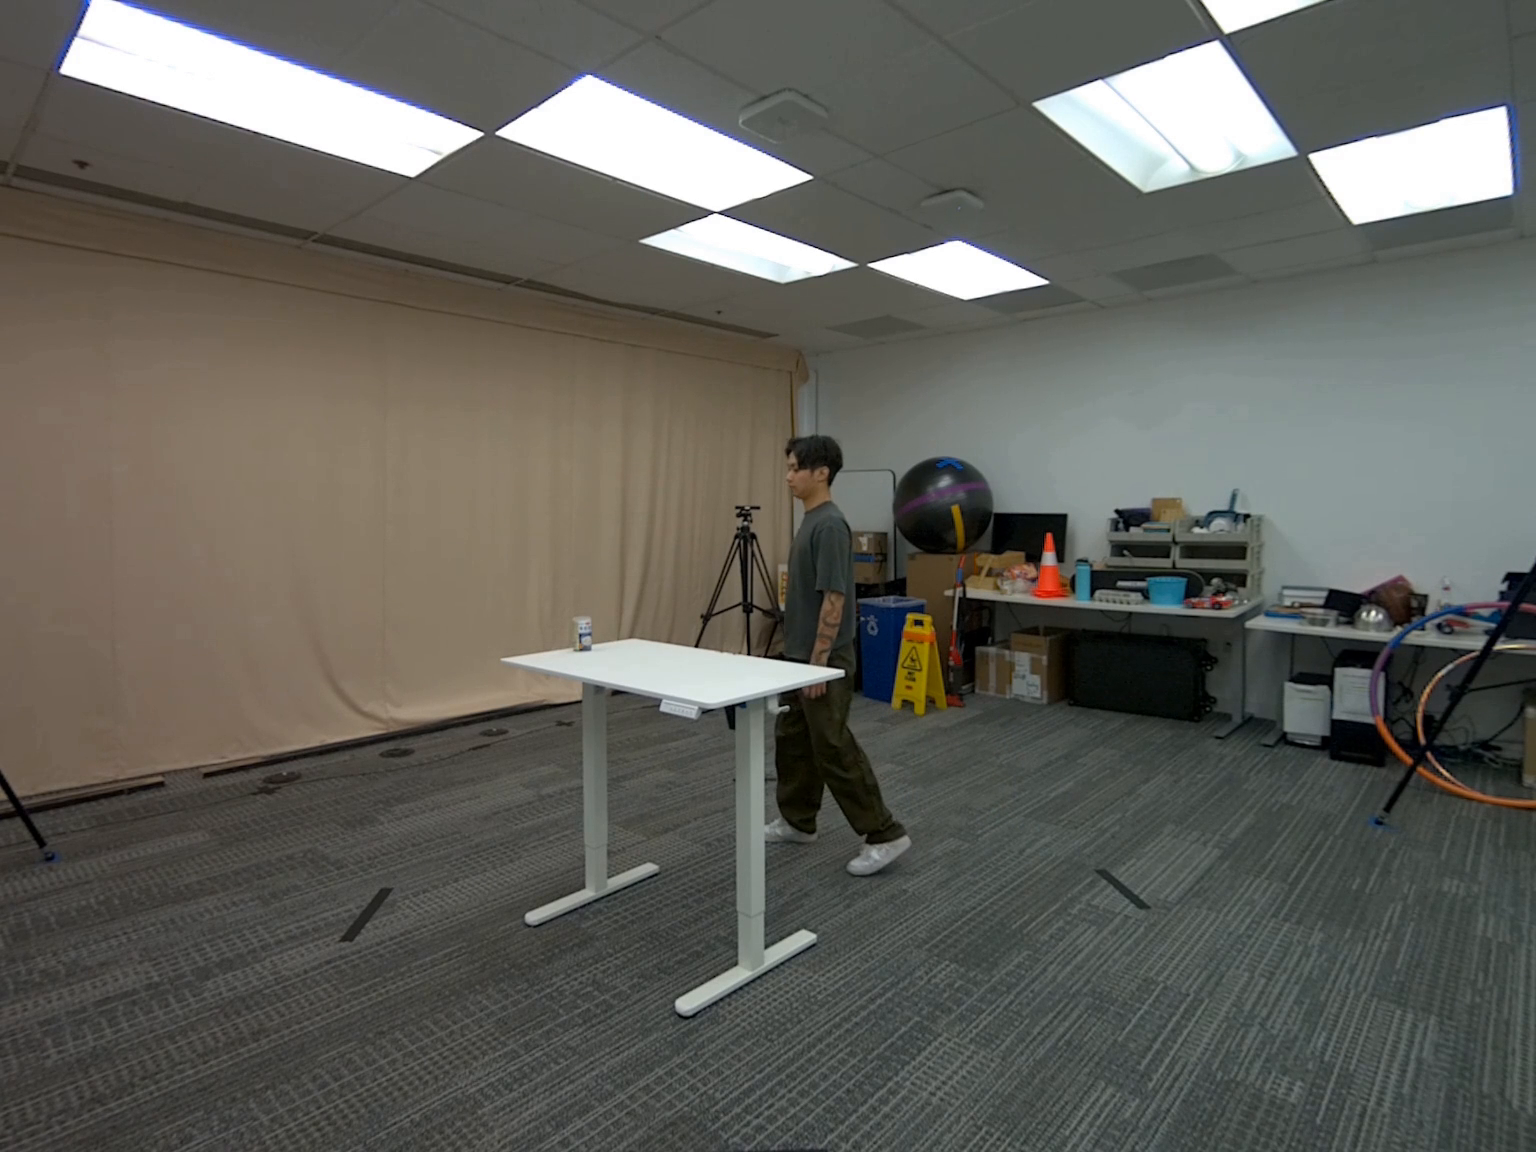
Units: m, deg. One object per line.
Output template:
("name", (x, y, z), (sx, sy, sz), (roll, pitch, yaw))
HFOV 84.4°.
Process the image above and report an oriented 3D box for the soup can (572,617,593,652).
("soup can", (-0.668, 0.212, 3.008), (0.067, 0.121, 0.067), (-2, -1, -2))
